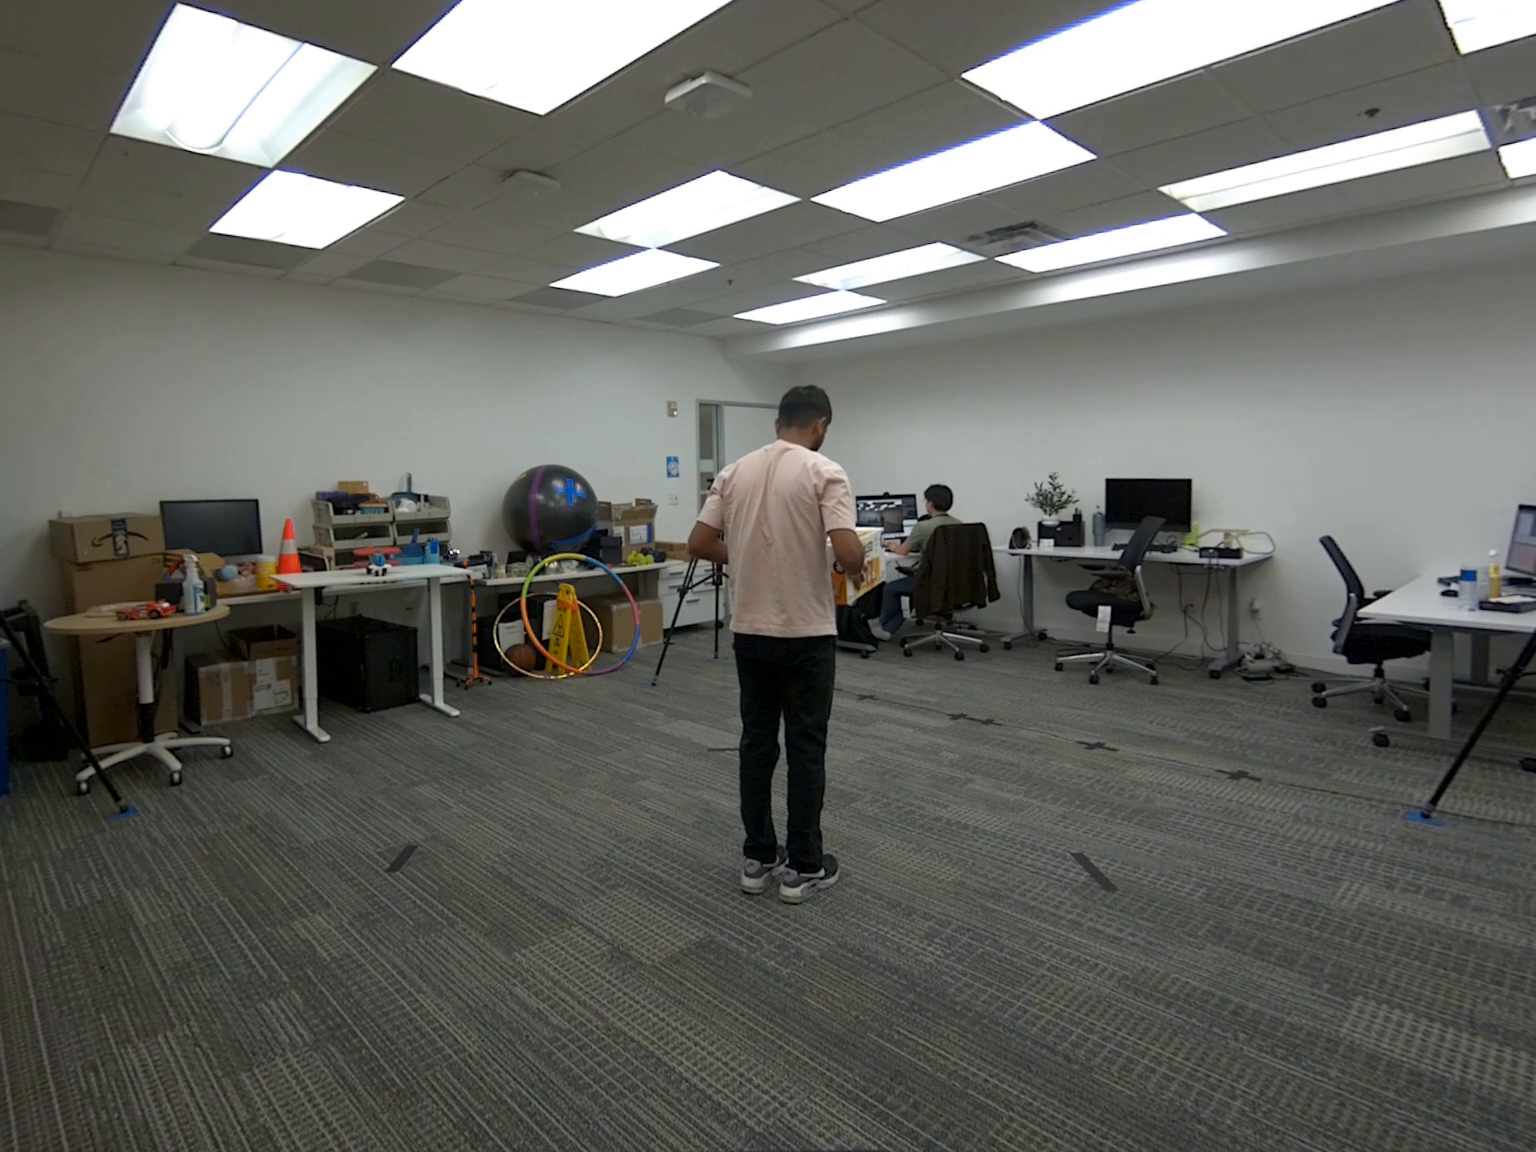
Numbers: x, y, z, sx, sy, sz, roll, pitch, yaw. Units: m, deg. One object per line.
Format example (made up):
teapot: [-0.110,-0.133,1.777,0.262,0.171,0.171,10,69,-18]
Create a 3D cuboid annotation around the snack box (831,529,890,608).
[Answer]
snack box: [0.211,-0.043,3.139,0.349,0.204,0.399,2,12,28]
